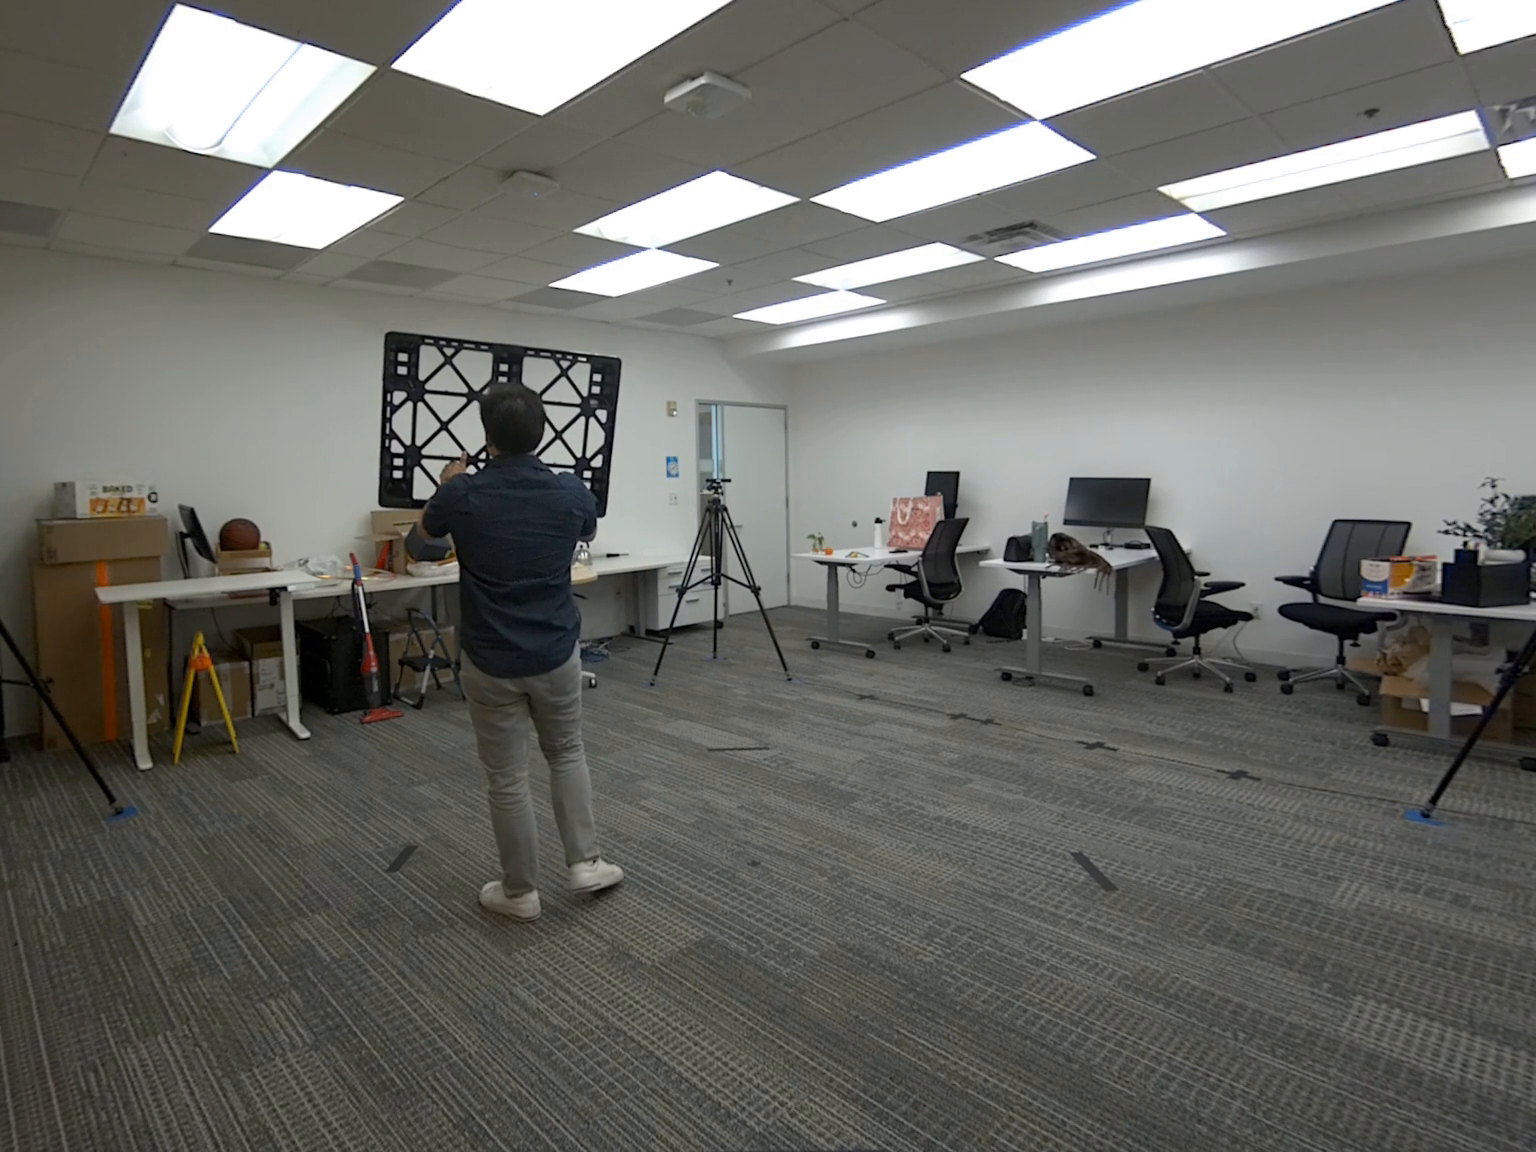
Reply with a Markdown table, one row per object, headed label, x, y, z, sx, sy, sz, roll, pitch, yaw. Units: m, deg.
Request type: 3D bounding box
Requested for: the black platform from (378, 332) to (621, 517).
| label | x | y | z | sx | sy | sz | roll | pitch | yaw |
| --- | --- | --- | --- | --- | --- | --- | --- | --- | --- |
| black platform | -0.949 | -0.532 | 3.054 | 0.789 | 0.599 | 0.148 | 2 | 14 | -21 |
